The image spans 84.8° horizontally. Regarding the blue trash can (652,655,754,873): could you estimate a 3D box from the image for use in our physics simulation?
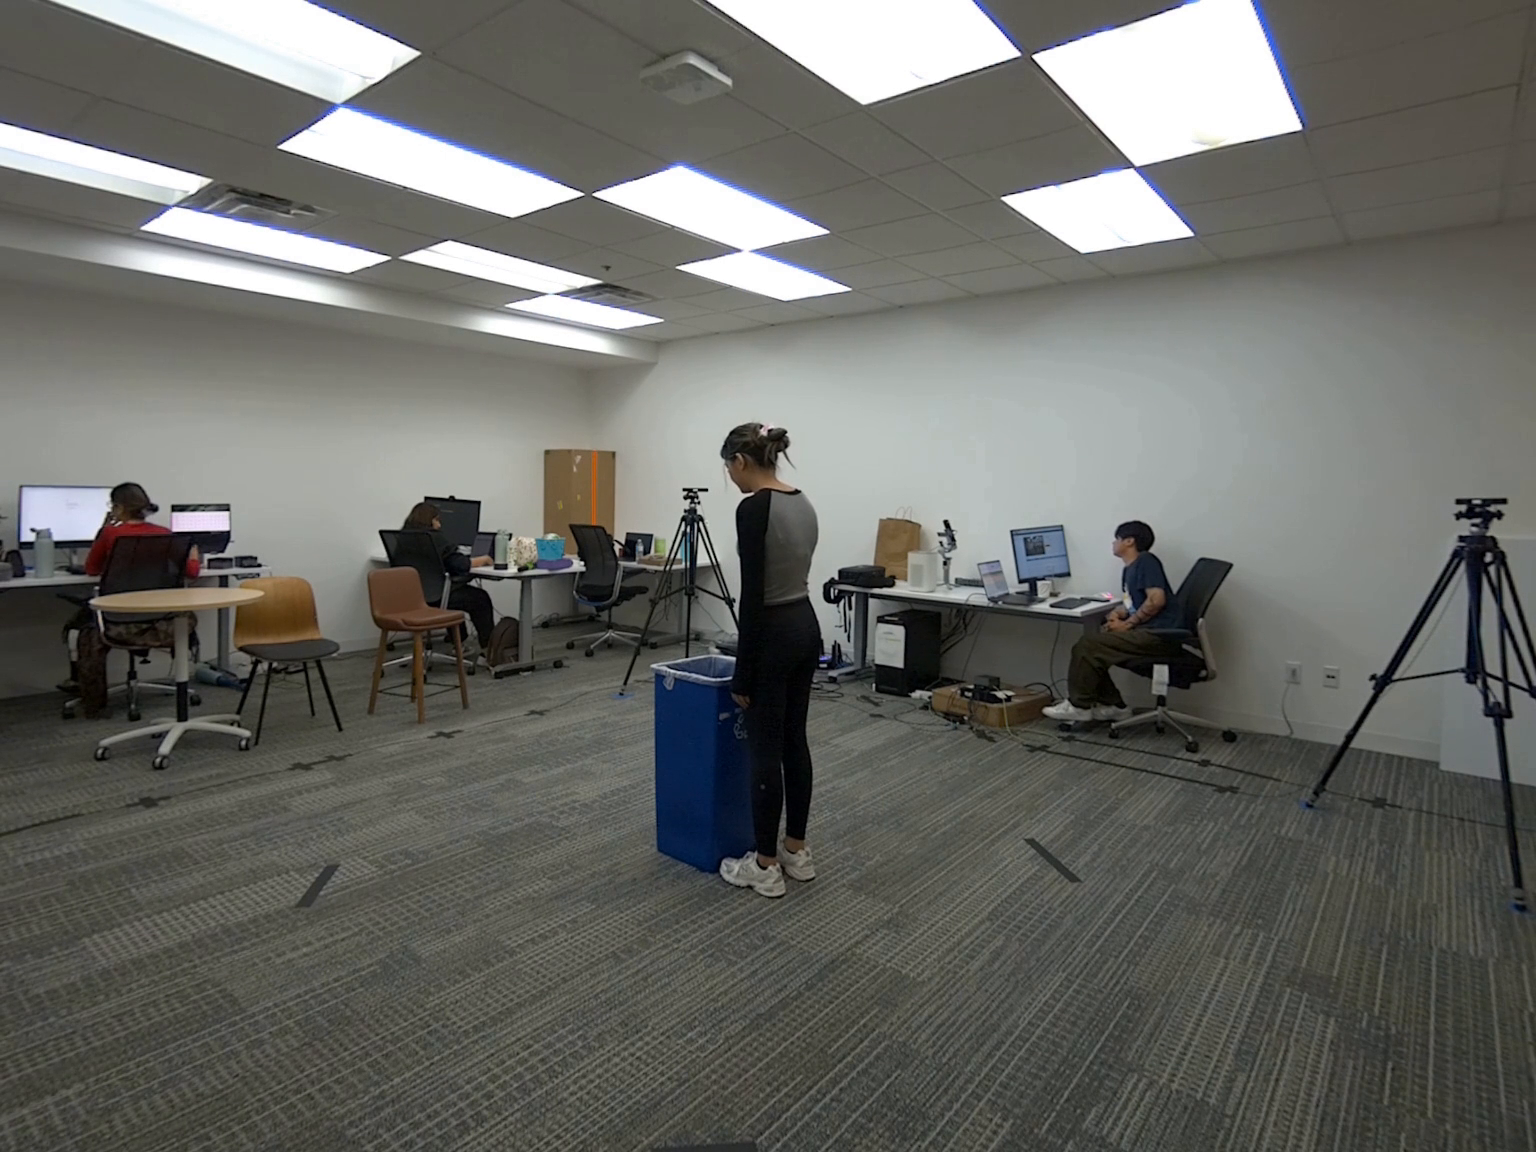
[{"bbox_3d":[-0.224,0.695,3.267,0.391,0.711,0.363,4,4,40],"label":"blue trash can"}]
